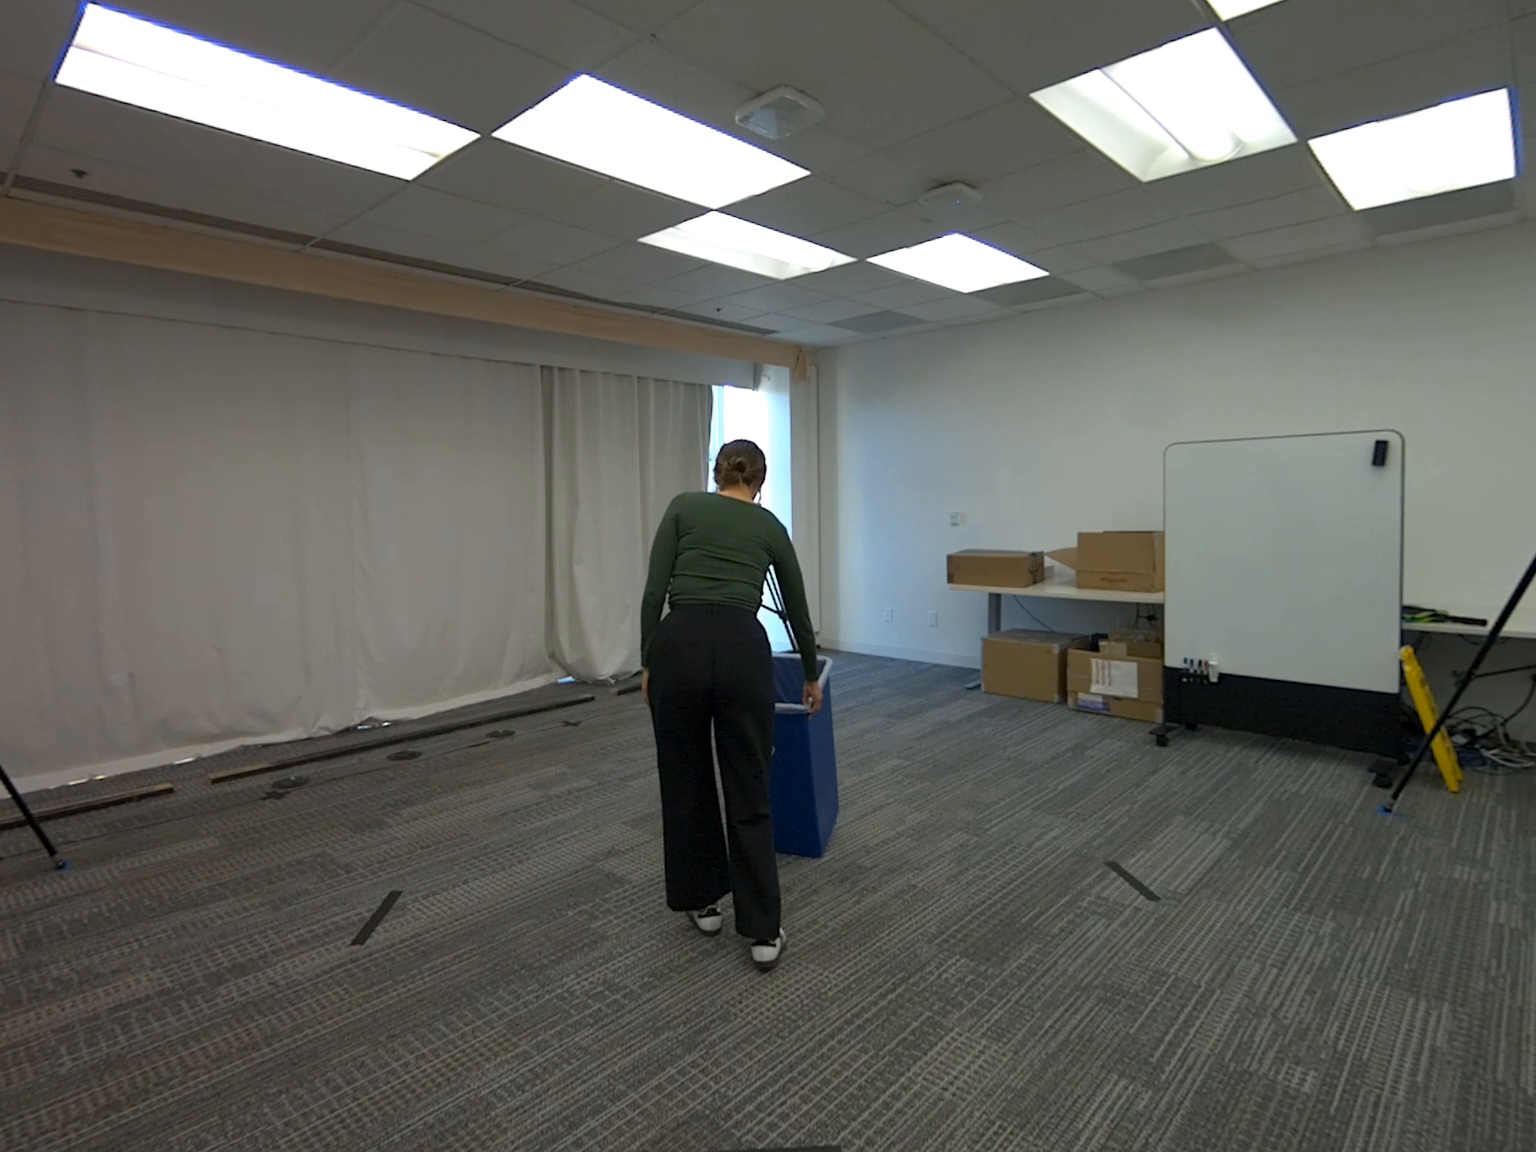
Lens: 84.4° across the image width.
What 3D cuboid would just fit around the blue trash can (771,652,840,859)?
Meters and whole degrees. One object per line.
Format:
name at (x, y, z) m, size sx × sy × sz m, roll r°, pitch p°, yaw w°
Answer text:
blue trash can at (0.072, 0.713, 3.346) m, size 0.386 × 0.702 × 0.372 m, roll 1°, pitch 24°, yaw 21°
